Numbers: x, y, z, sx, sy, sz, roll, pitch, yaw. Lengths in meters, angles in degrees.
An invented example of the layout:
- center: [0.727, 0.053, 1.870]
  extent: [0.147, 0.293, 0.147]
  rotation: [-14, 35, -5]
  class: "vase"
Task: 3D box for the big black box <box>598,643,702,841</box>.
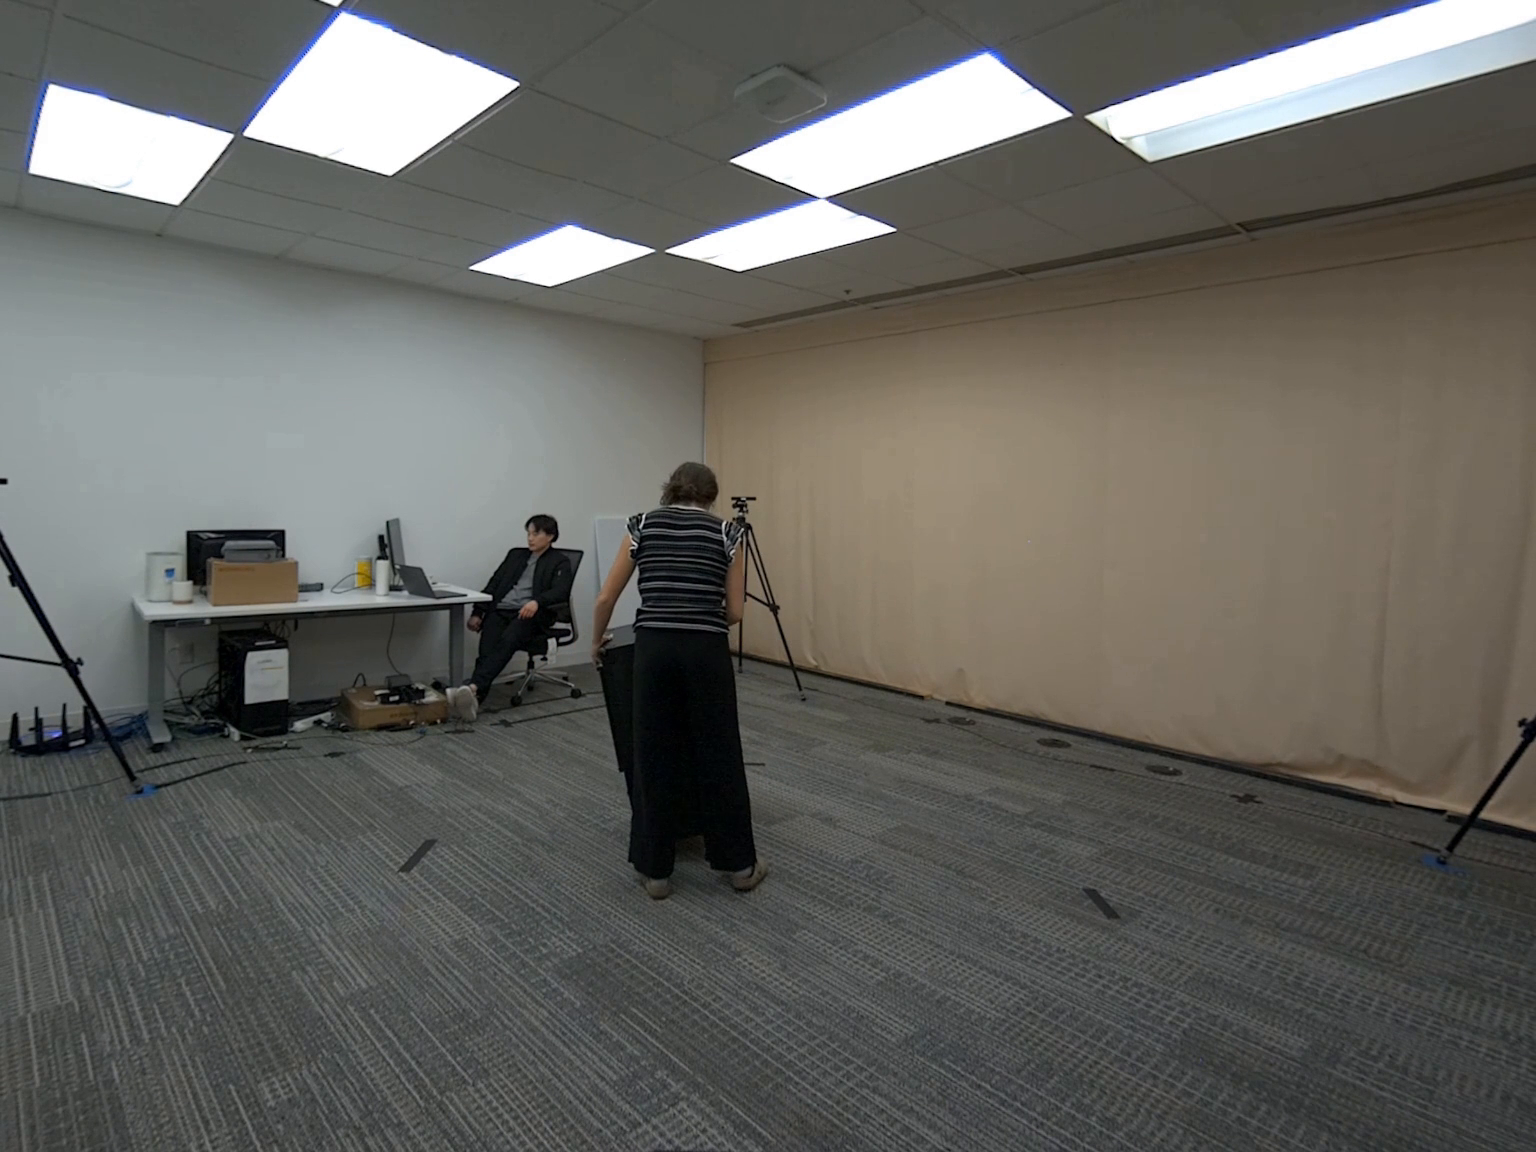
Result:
- center: [-0.452, 0.637, 3.419]
  extent: [0.394, 0.858, 0.526]
  rotation: [-11, 5, -7]
  class: "big black box"
